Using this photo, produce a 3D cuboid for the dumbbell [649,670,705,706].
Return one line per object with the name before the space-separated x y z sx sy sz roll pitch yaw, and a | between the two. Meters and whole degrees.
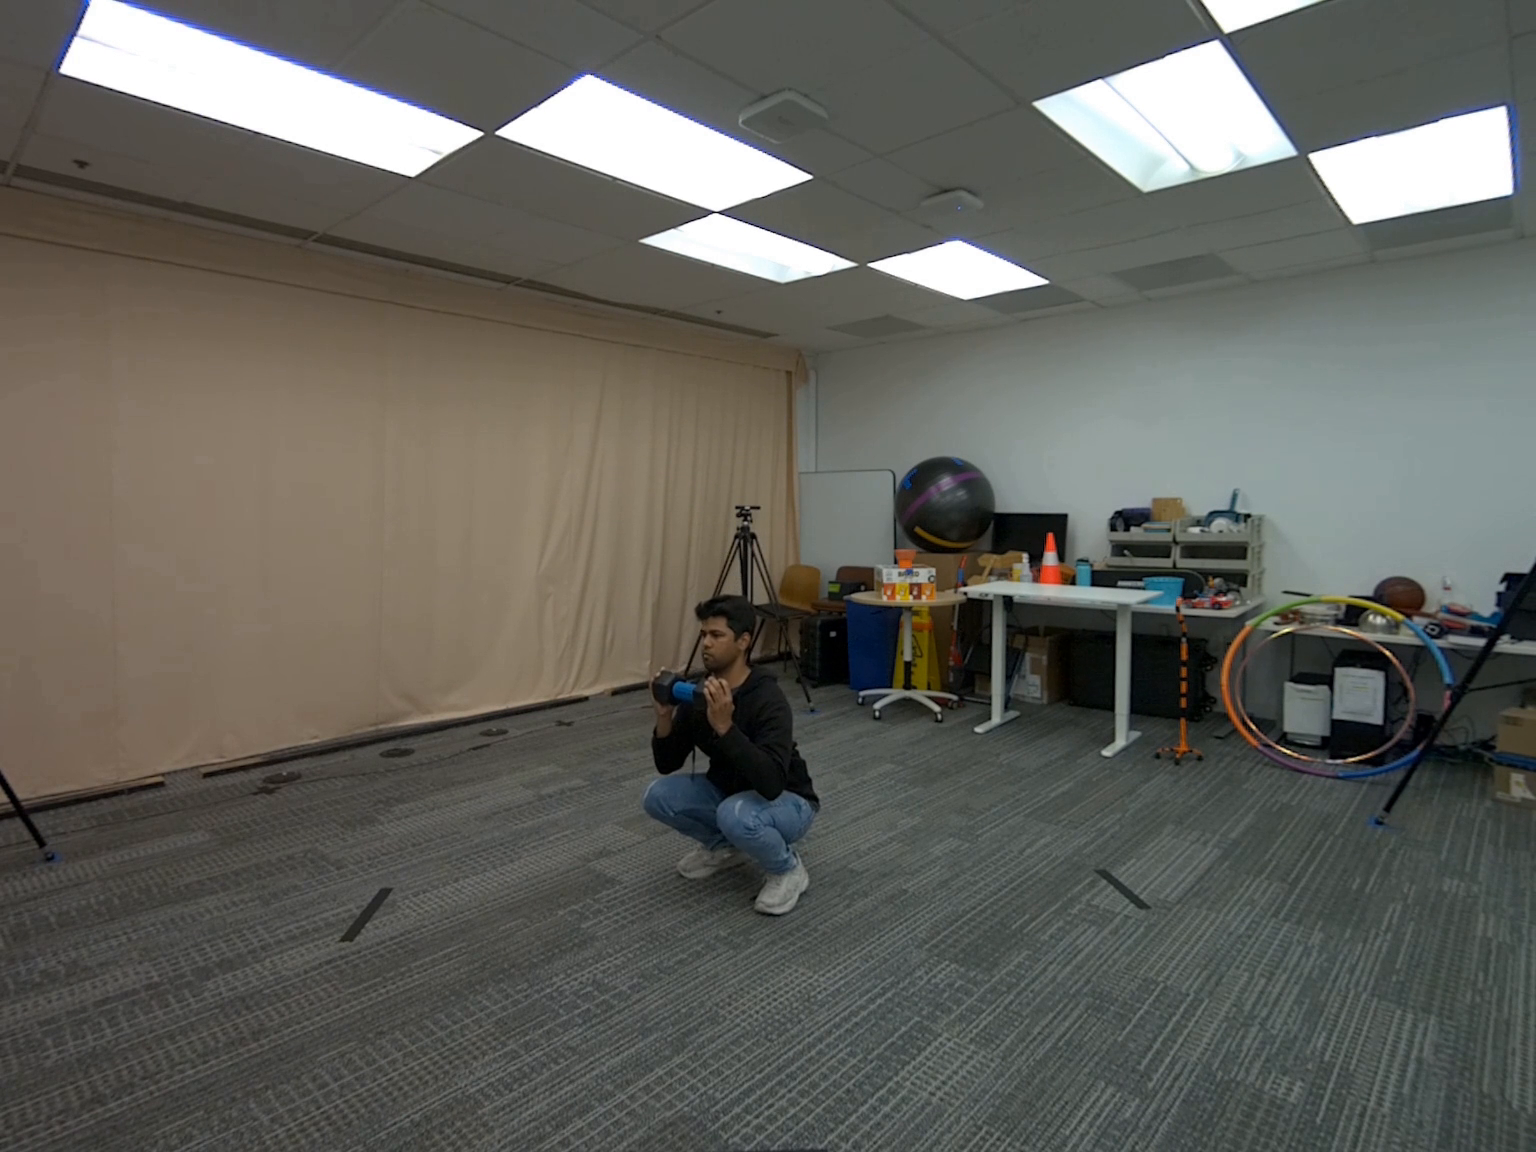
dumbbell | -0.264 0.390 2.899 0.105 0.122 0.303 -8 8 -43
